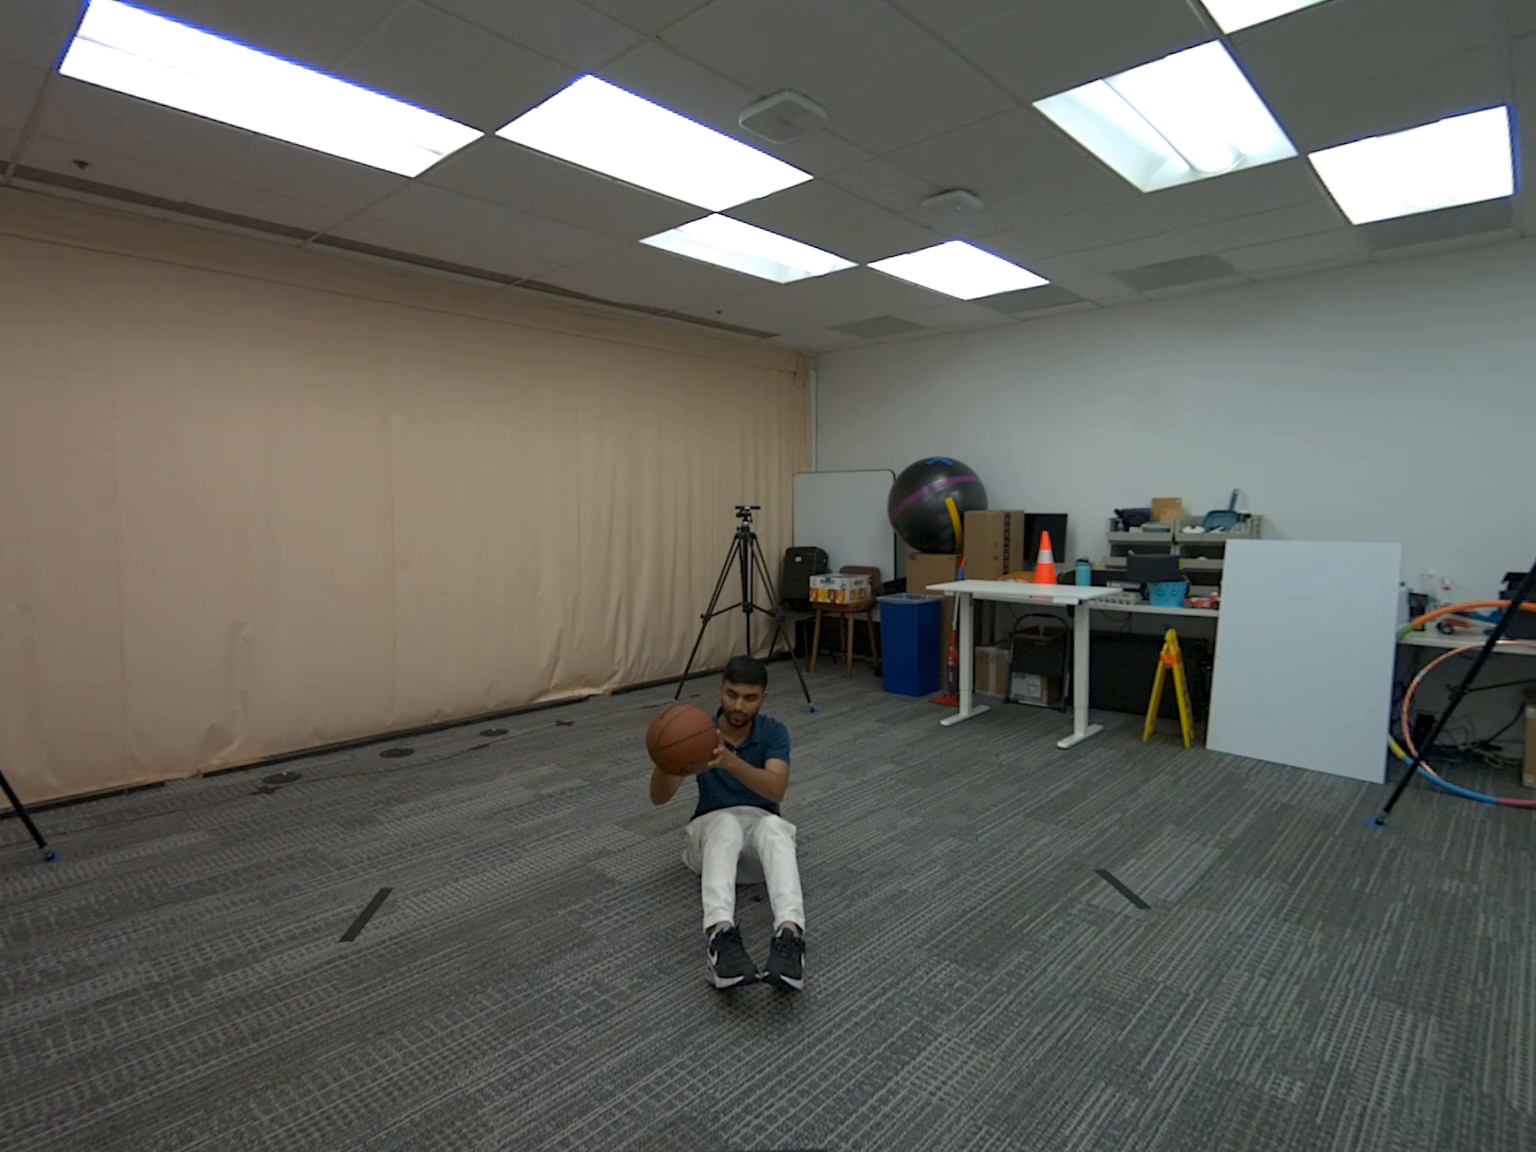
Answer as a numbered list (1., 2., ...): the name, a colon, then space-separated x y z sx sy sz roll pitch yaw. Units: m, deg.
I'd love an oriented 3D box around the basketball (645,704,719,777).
1. basketball: -0.282 0.563 2.805 0.236 0.235 0.237 0 4 -2
